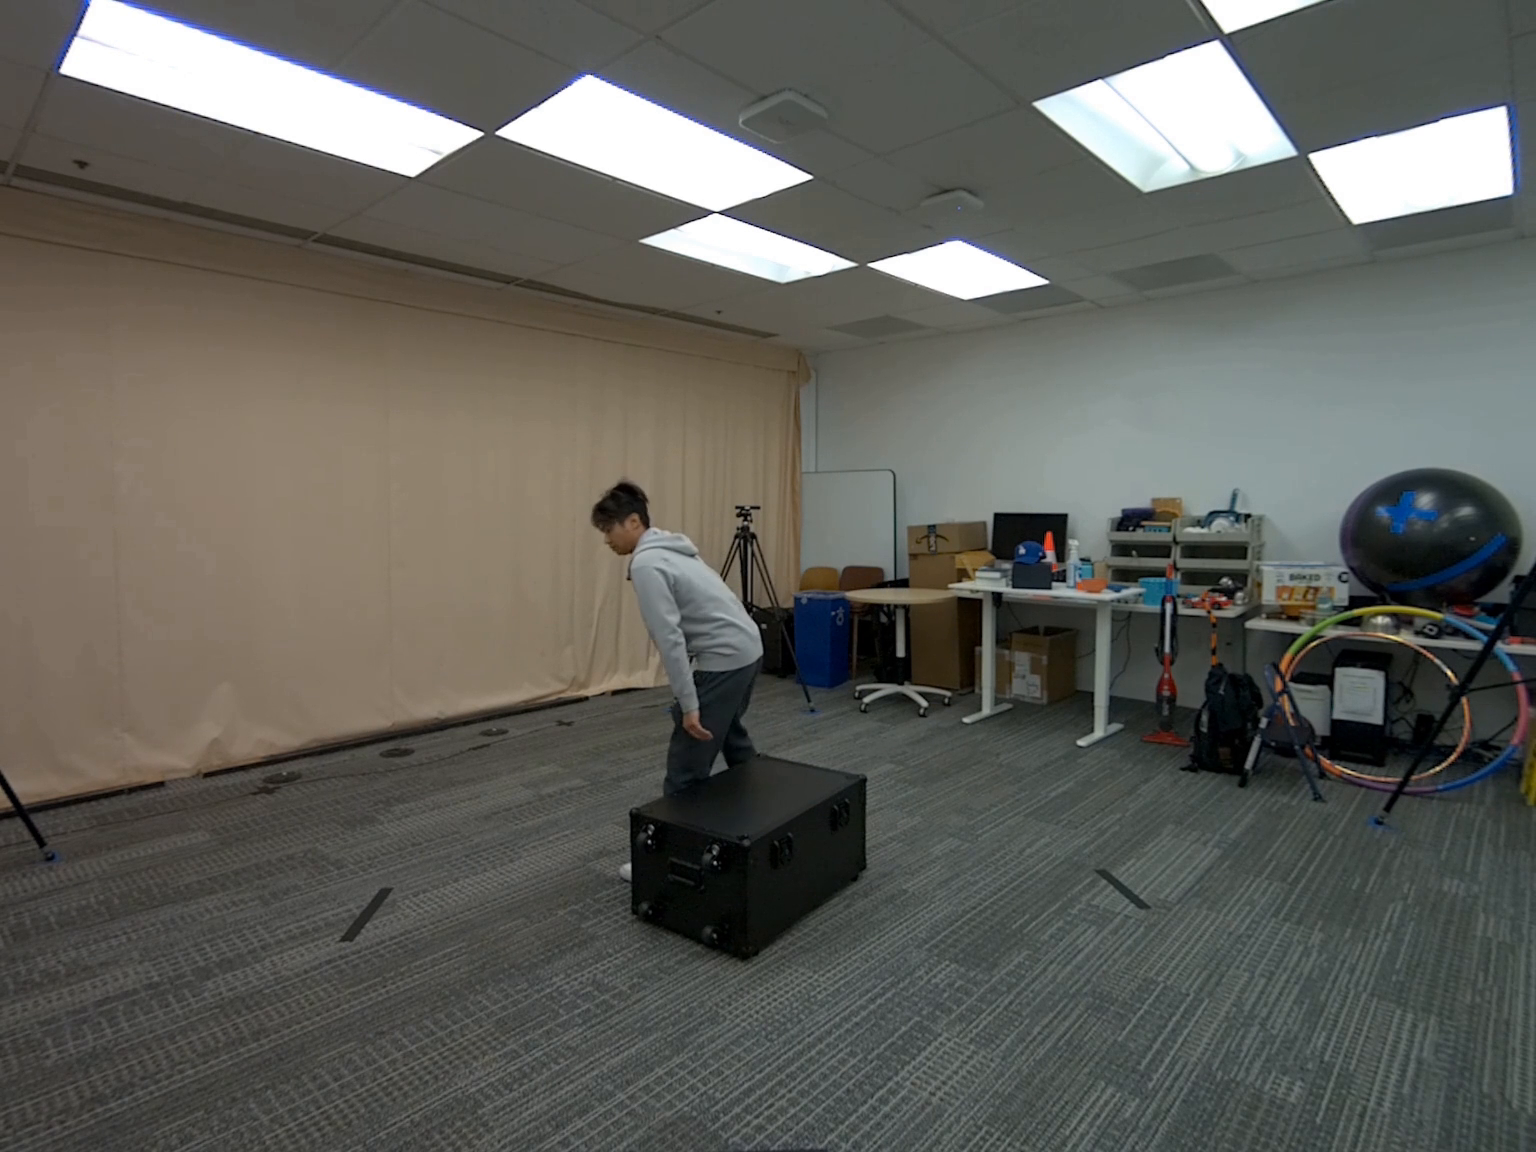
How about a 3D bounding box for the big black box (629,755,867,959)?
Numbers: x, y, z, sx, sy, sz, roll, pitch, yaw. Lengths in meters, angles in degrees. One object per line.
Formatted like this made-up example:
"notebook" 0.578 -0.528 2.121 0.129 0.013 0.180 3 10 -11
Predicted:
"big black box" -0.022 0.952 3.009 0.538 0.395 0.837 3 6 35
